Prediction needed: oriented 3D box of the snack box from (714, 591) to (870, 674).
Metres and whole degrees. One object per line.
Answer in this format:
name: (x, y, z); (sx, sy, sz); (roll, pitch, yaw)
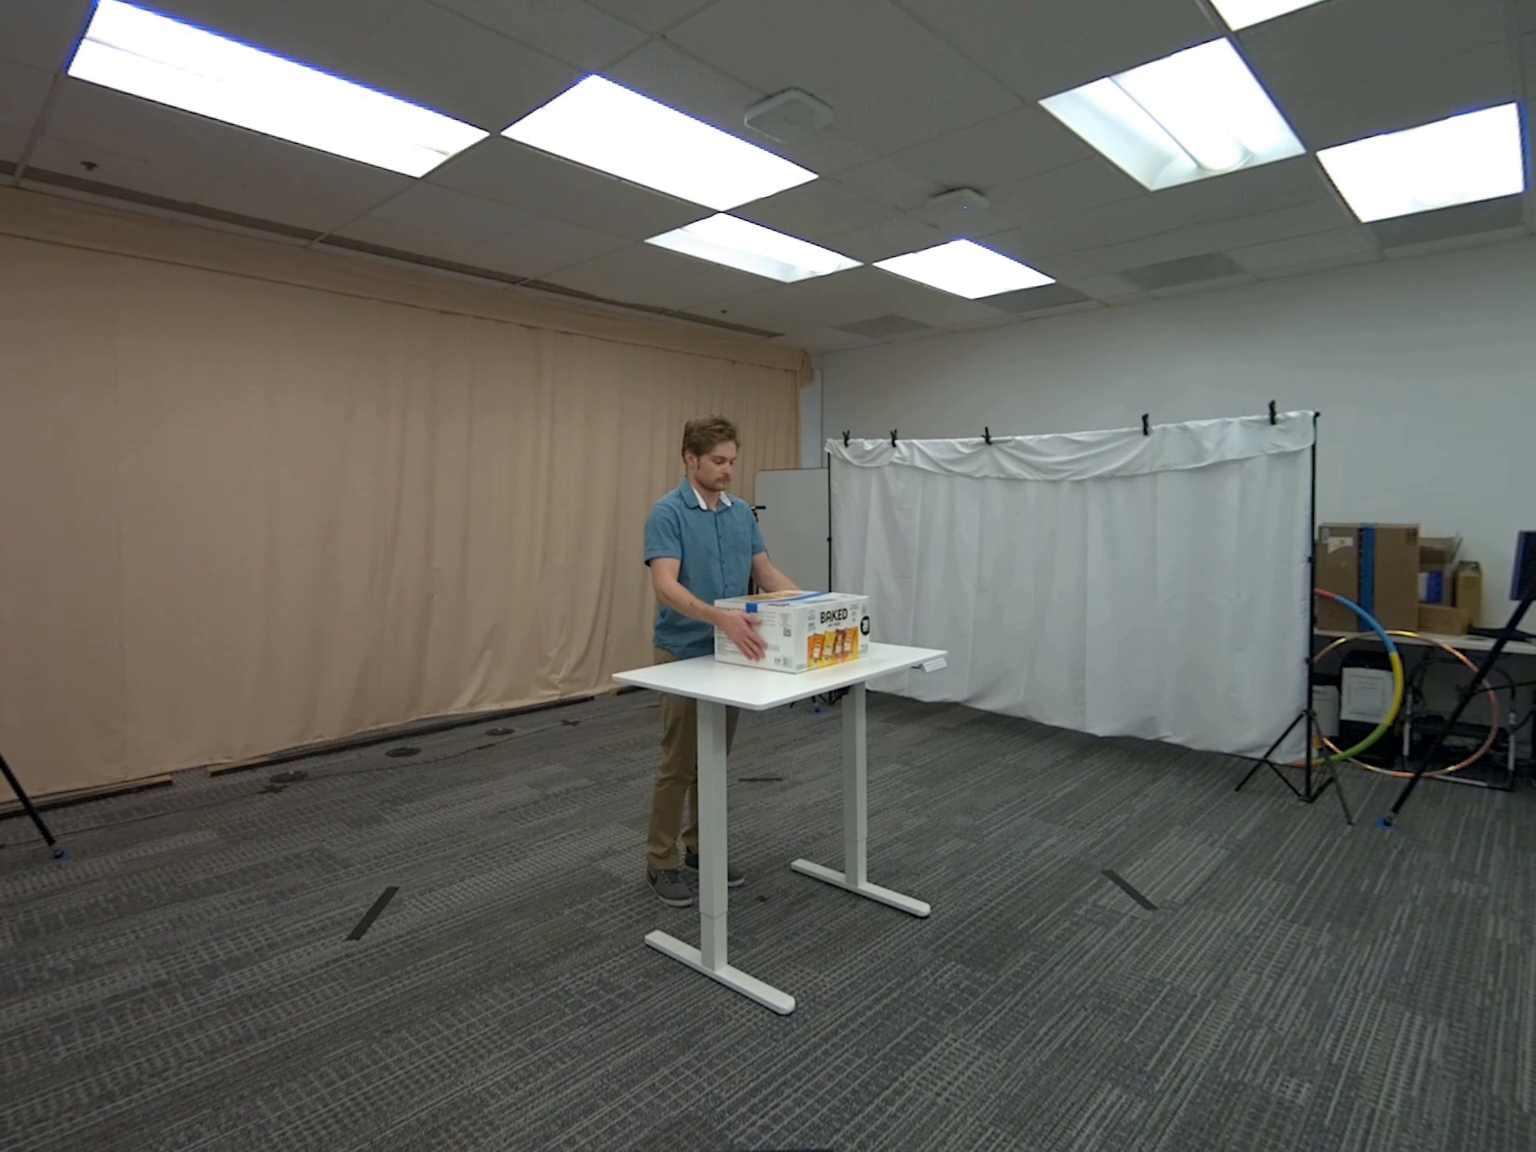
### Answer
snack box: (0.089, 0.175, 2.788); (0.351, 0.205, 0.393); (2, 5, 42)
